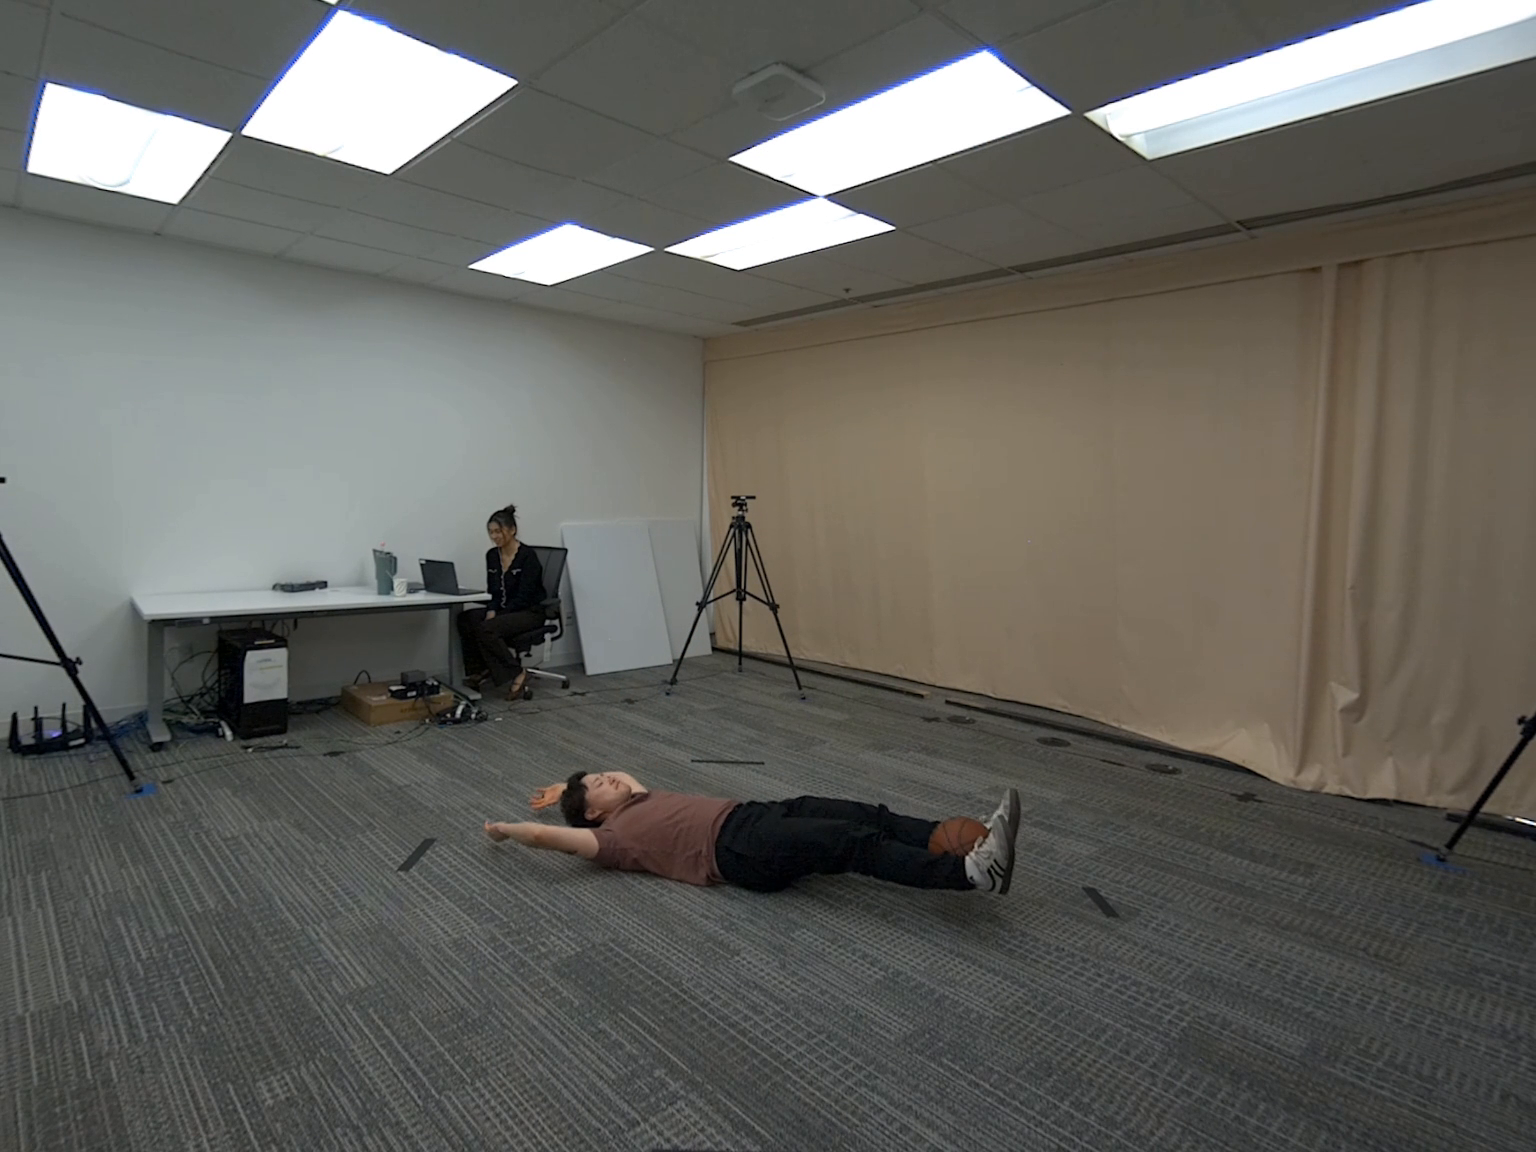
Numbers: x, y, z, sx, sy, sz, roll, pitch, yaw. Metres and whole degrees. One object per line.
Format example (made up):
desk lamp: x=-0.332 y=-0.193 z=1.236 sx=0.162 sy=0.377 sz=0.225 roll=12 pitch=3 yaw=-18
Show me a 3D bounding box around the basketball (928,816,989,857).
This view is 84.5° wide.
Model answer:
basketball: x=0.658 y=0.926 z=2.861 sx=0.236 sy=0.234 sz=0.237 roll=0 pitch=8 yaw=-1
